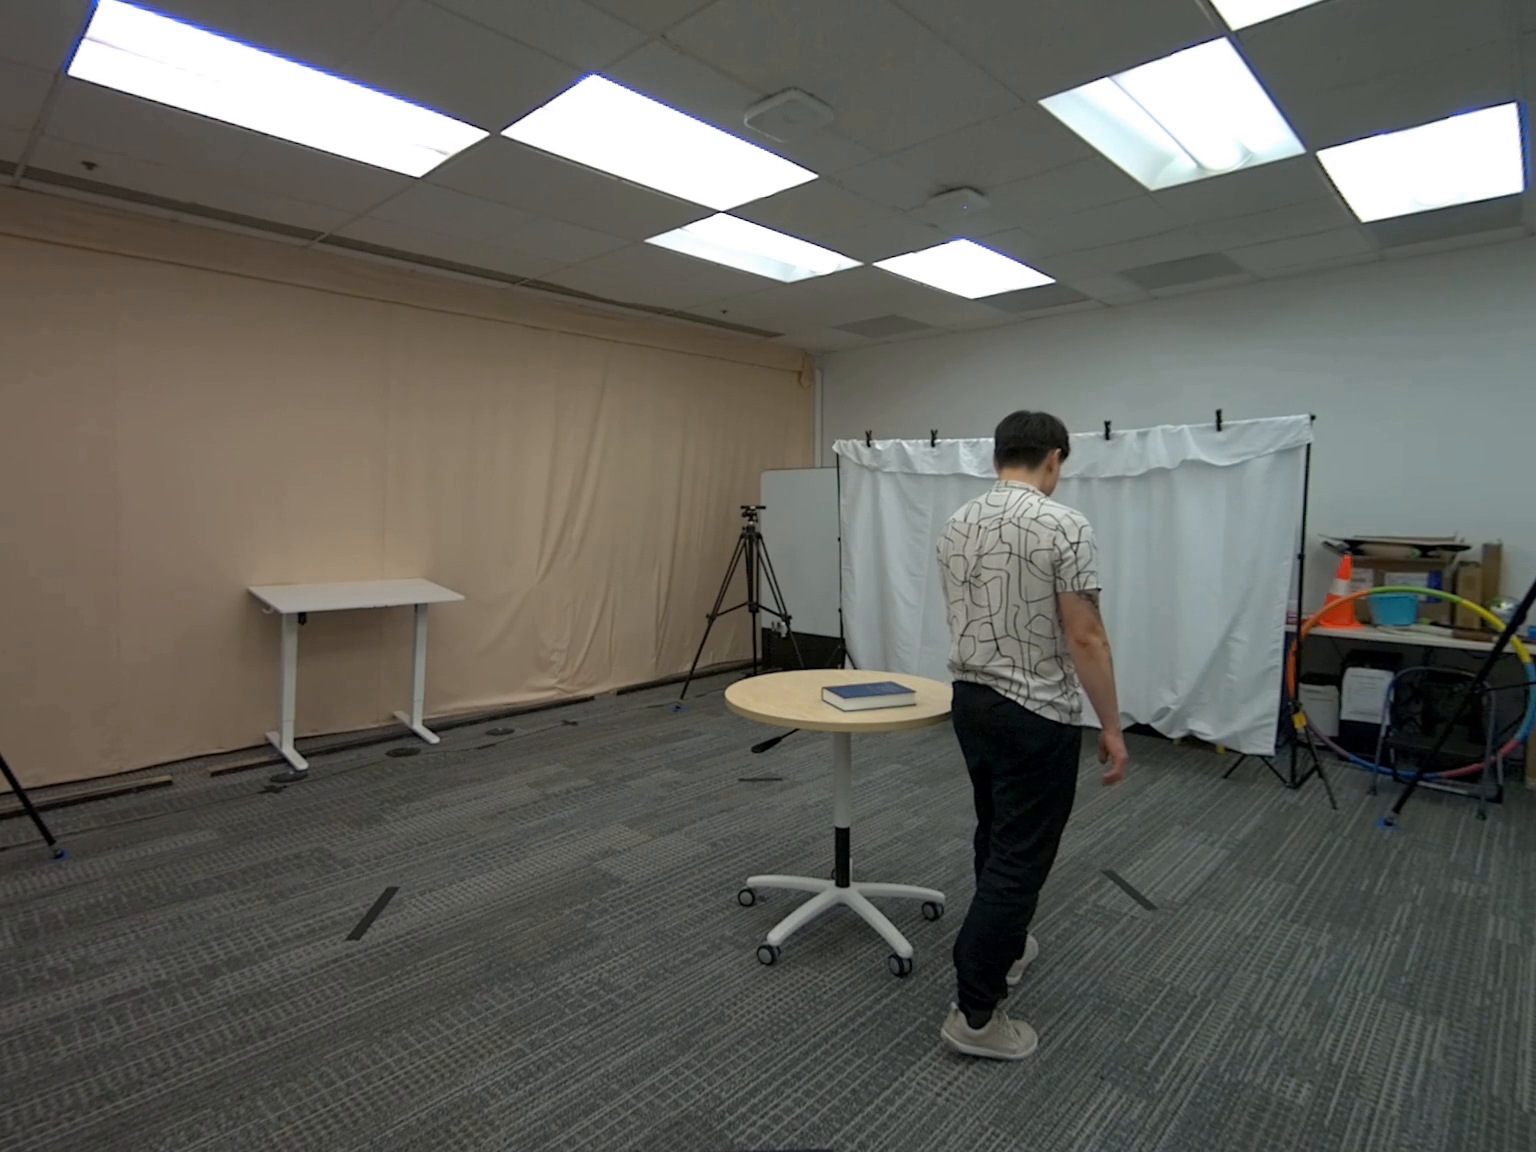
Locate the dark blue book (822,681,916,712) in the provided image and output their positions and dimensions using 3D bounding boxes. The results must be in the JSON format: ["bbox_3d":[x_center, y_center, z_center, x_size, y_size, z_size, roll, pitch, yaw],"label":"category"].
[{"bbox_3d":[0.321,0.373,2.594,0.241,0.045,0.167,-2,5,-18],"label":"dark blue book"}]
